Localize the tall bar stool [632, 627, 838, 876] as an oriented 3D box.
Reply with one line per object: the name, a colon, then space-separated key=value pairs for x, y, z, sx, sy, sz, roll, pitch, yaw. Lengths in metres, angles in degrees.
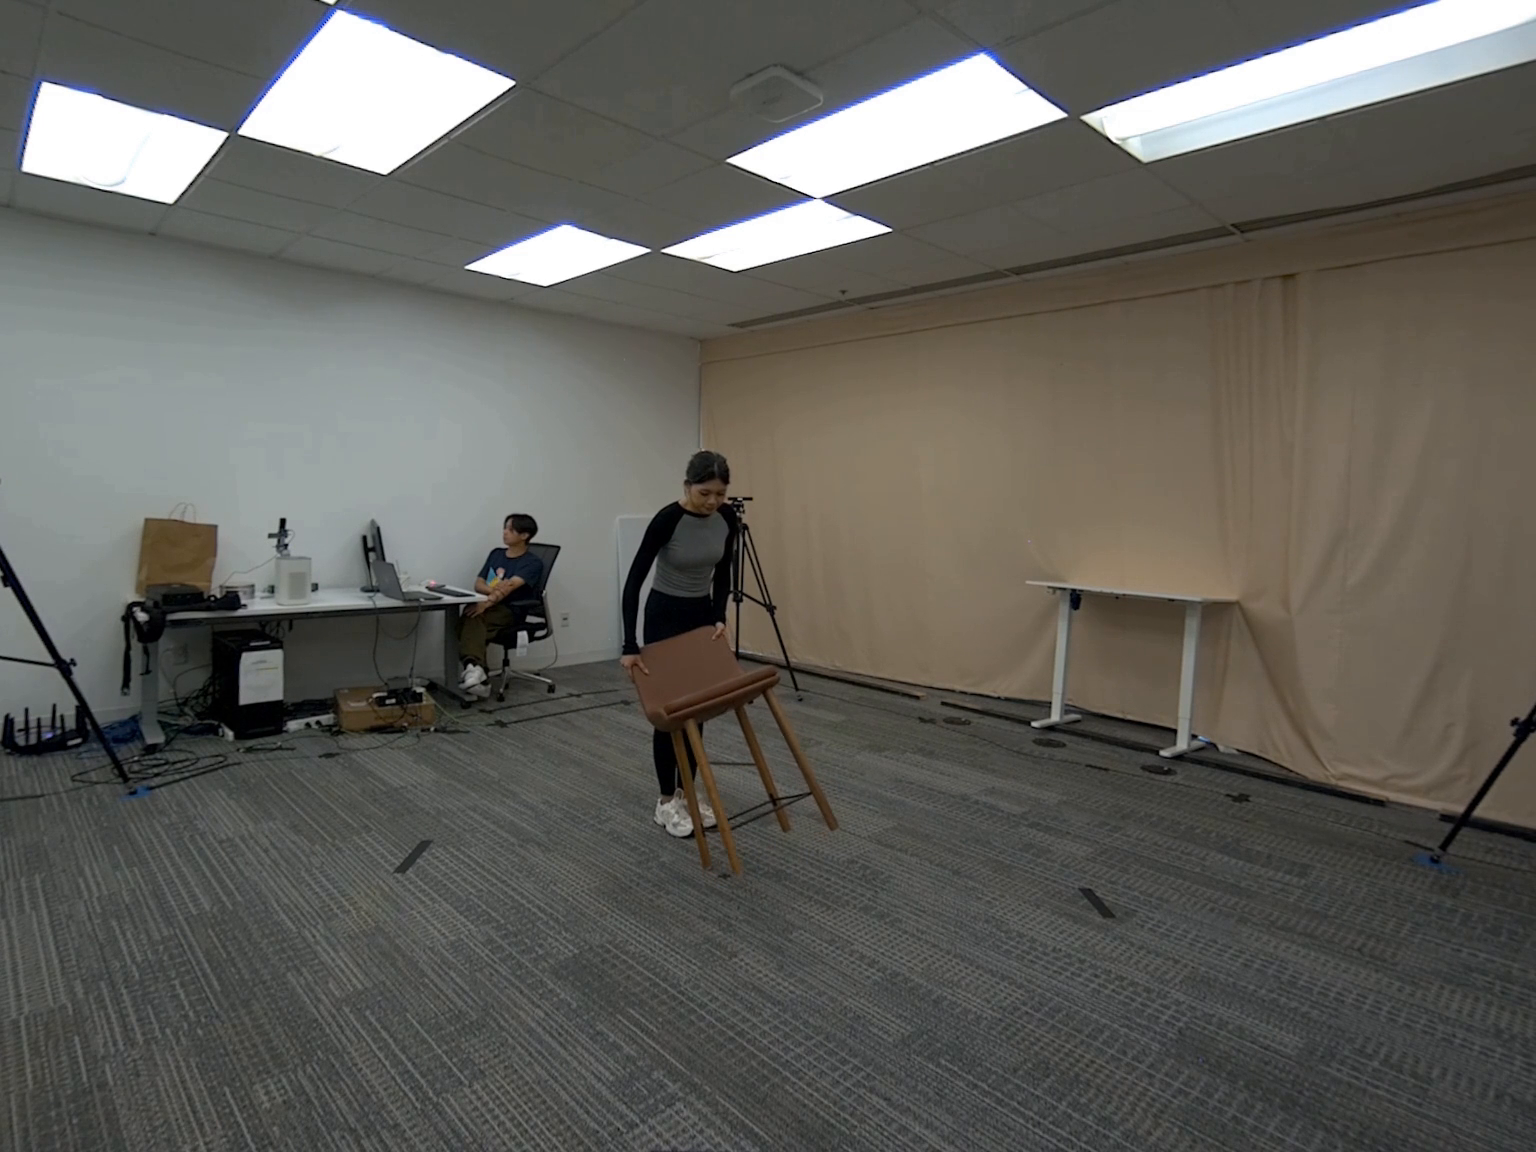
tall bar stool: x=-0.167 y=0.593 z=3.126 sx=0.451 sy=0.901 sz=0.467 roll=-17 pitch=-13 yaw=-23
